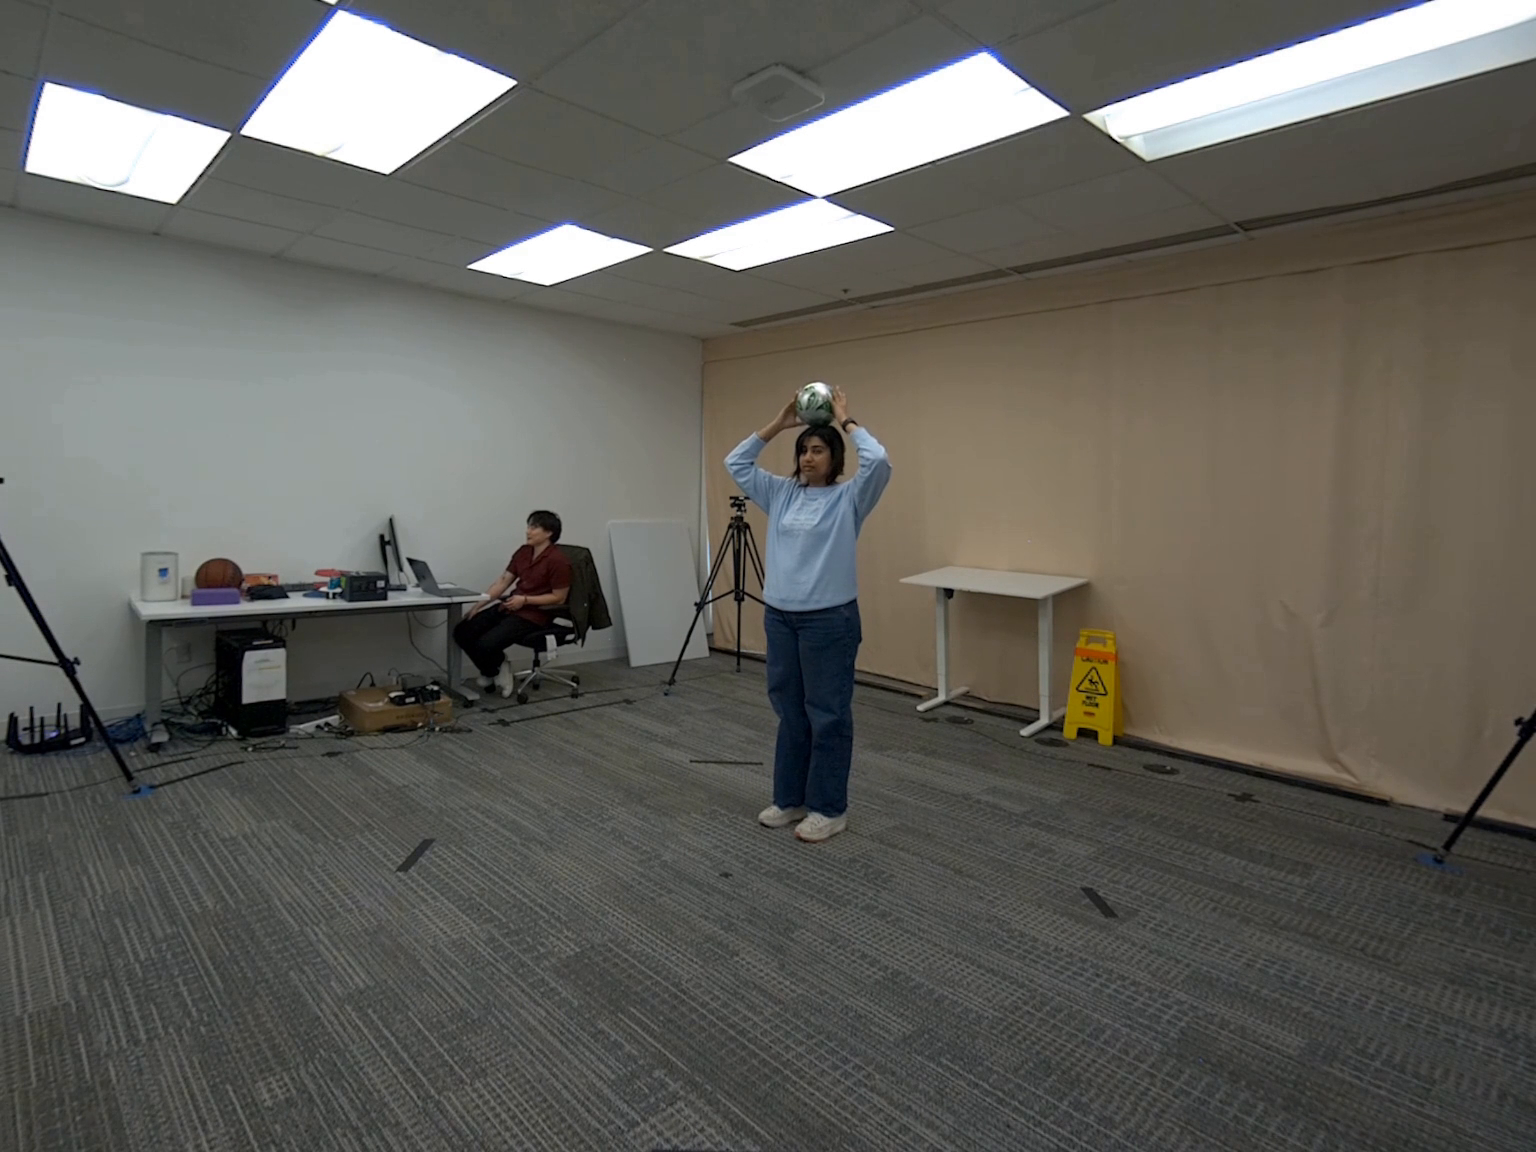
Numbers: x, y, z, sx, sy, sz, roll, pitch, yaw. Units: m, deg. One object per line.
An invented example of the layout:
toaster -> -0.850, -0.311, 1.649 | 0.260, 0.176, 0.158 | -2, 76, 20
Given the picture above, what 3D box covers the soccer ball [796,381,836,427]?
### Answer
soccer ball -> 0.195, -0.714, 3.518 | 0.187, 0.187, 0.188 | 1, 4, -1
